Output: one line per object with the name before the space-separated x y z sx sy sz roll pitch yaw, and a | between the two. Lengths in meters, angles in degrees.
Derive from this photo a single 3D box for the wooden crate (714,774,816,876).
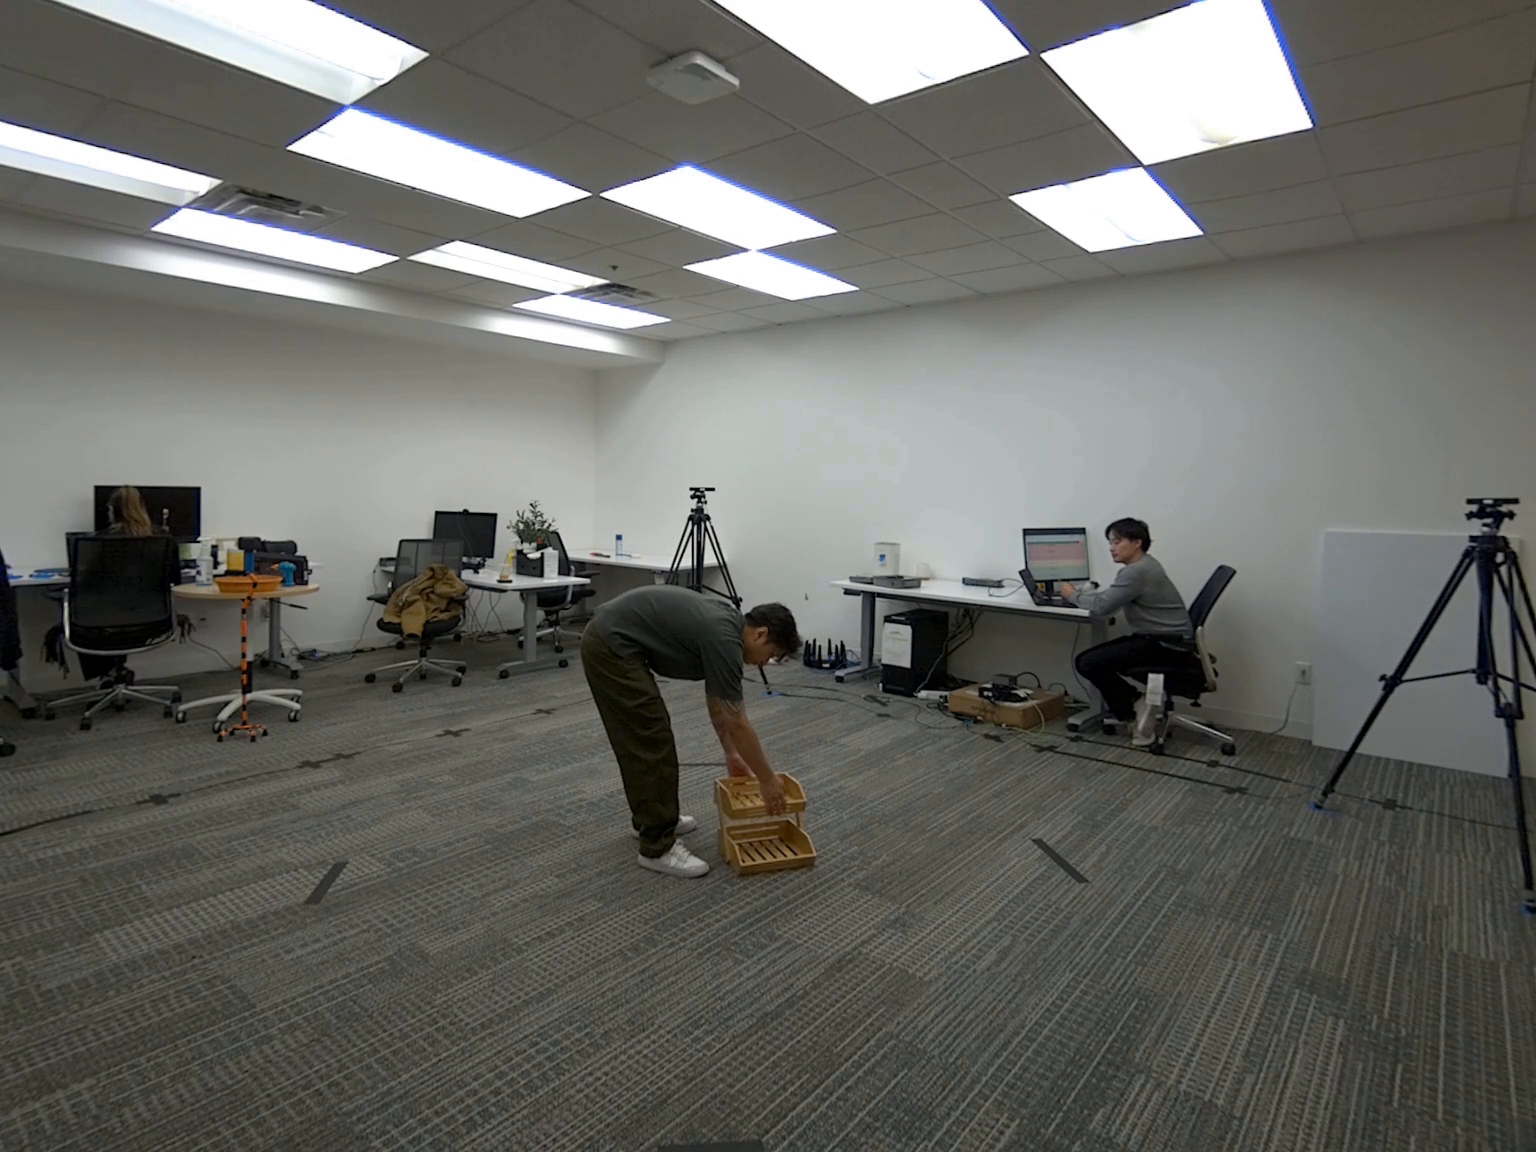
wooden crate | -0.021 0.925 3.215 0.317 0.273 0.309 0 4 -22
